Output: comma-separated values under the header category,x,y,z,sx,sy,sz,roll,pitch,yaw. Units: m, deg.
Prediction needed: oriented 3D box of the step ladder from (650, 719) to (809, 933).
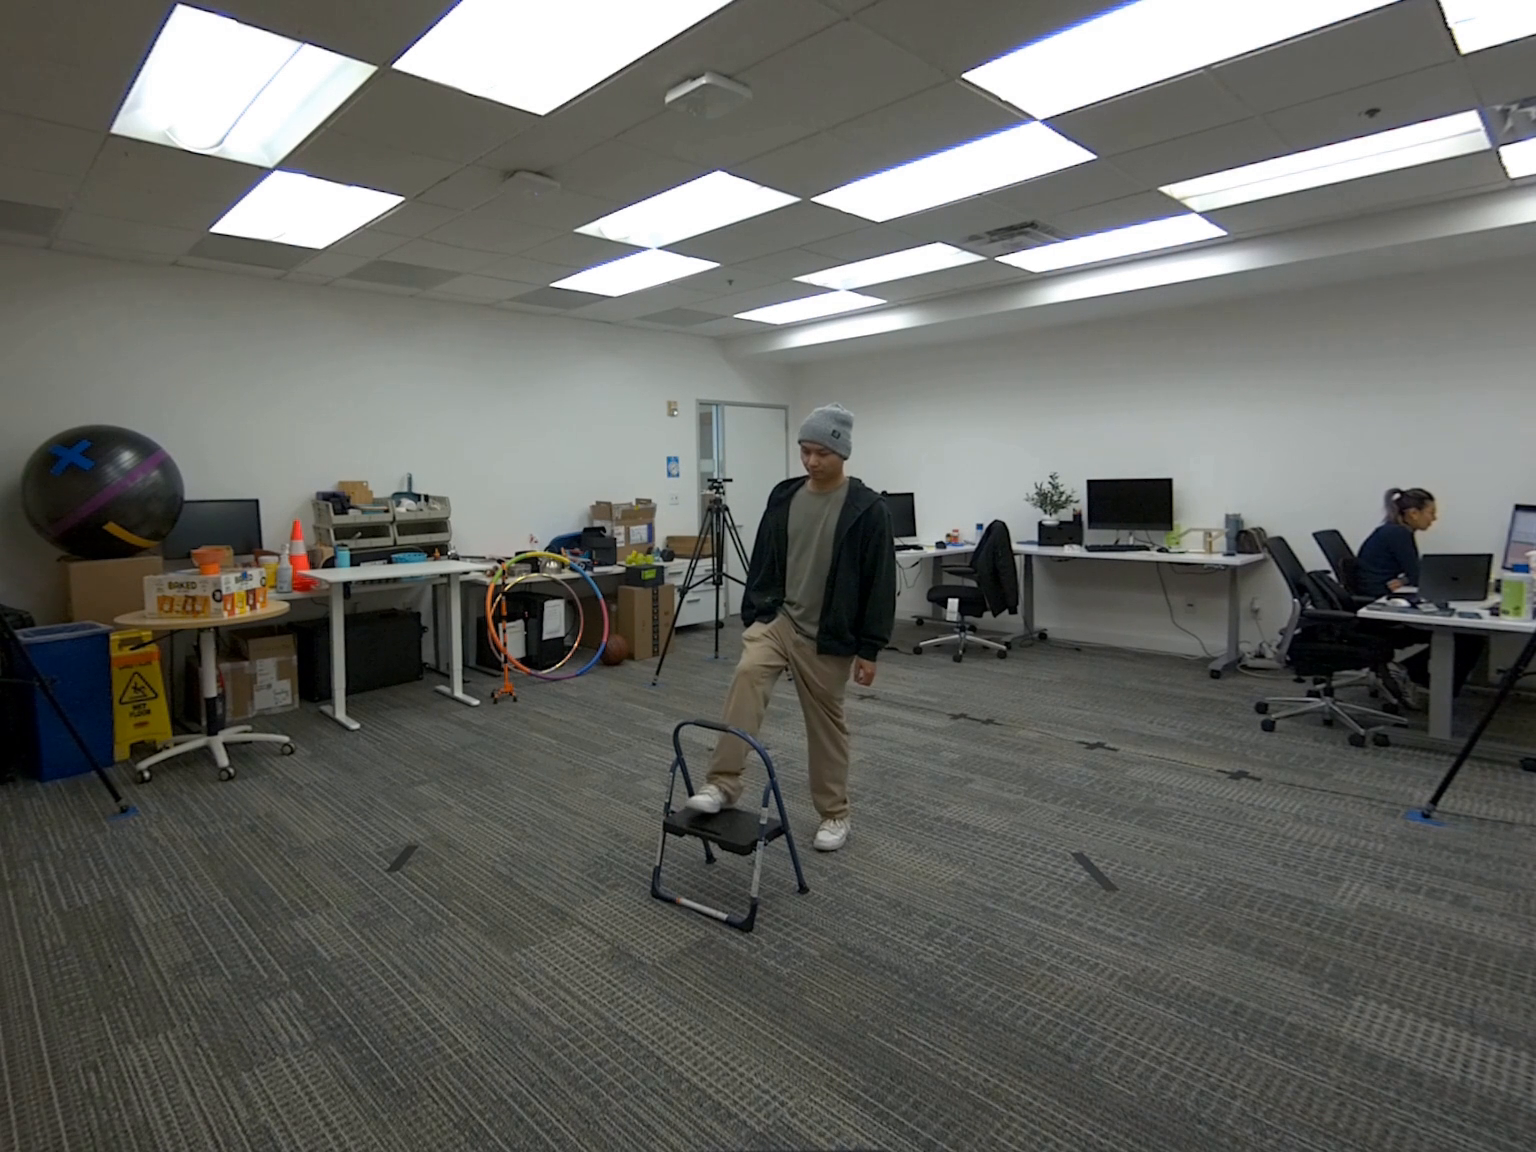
category,x,y,z,sx,sy,sz,roll,pitch,yaw
step ladder,-0.135,0.770,2.865,0.443,0.603,0.341,3,6,35
